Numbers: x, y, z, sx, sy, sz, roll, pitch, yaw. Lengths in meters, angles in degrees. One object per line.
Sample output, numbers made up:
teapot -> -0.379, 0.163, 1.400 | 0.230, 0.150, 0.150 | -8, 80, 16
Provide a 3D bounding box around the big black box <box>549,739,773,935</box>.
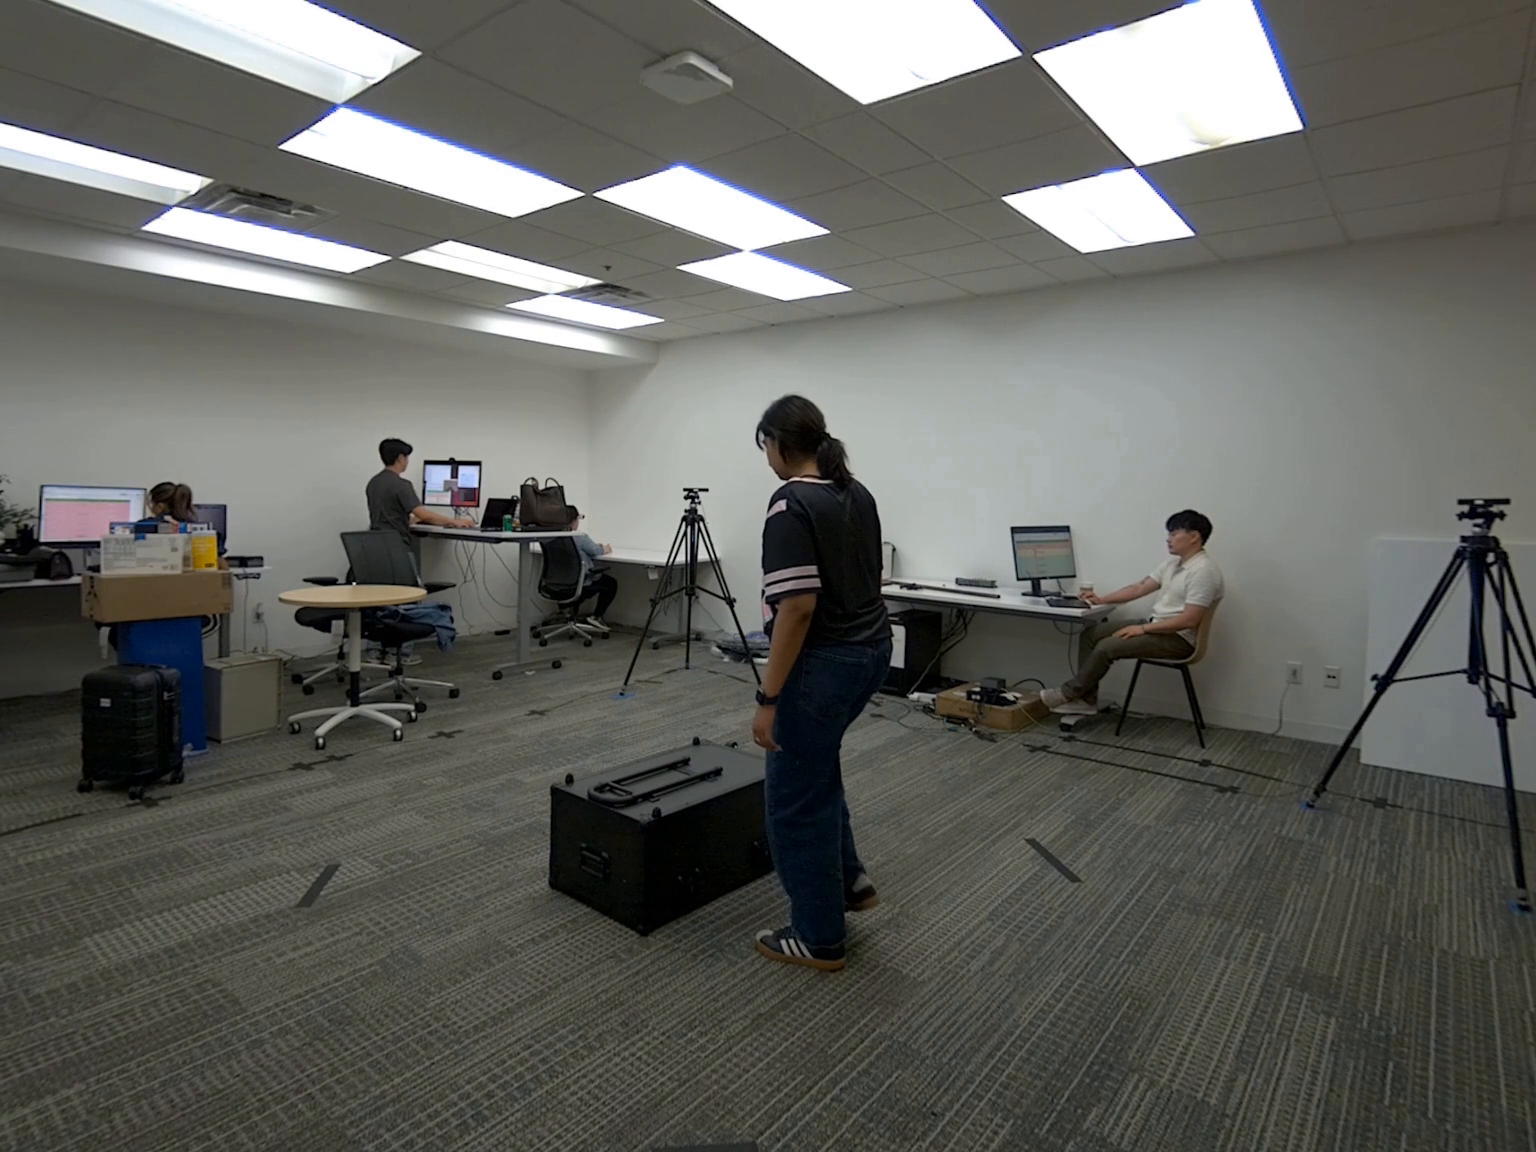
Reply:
big black box -> -0.320, 0.885, 3.095 | 0.541, 0.384, 0.843 | 4, 6, 40
